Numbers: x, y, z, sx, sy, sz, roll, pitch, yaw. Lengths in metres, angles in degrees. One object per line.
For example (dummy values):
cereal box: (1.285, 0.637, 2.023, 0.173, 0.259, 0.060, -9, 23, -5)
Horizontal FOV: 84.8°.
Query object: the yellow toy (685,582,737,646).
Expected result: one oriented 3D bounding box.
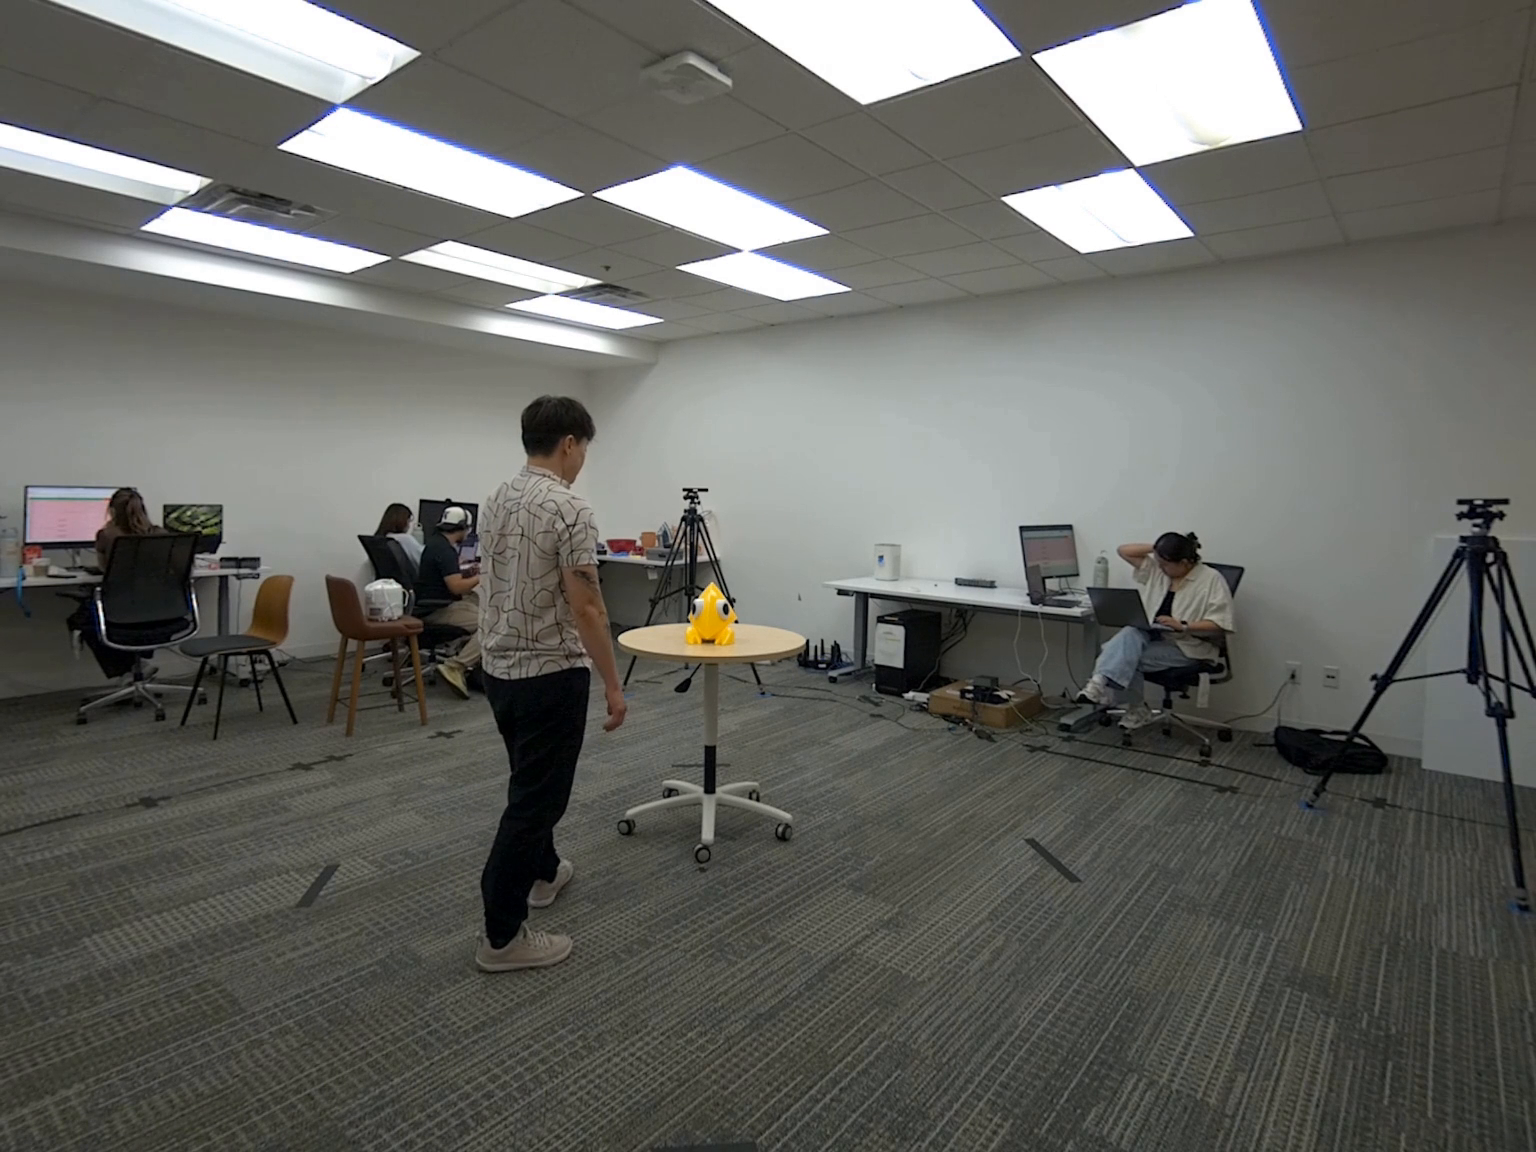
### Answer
yellow toy: (-0.245, 0.144, 3.412, 0.206, 0.230, 0.193, 1, 4, 4)
